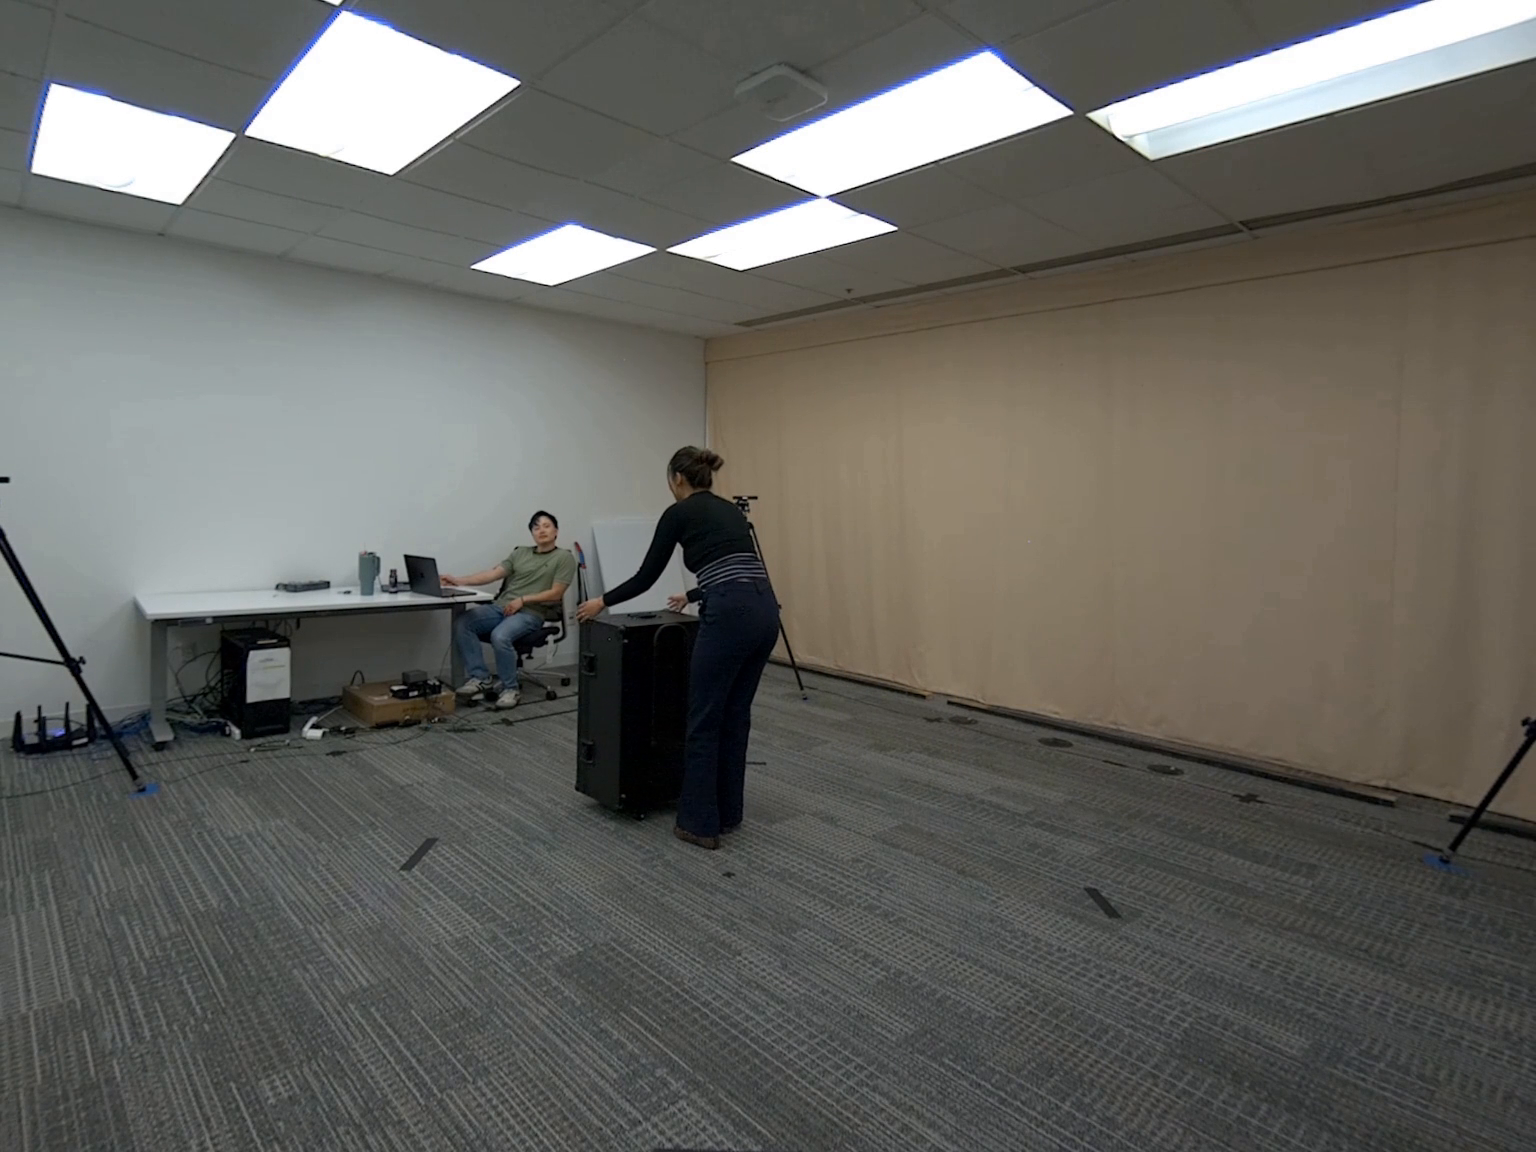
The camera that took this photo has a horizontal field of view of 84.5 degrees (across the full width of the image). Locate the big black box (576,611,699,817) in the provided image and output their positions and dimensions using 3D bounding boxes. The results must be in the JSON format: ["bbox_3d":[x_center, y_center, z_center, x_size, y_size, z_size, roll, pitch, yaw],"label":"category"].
[{"bbox_3d":[-0.552,0.608,3.762,0.509,0.859,0.407,-2,6,-41],"label":"big black box"}]
